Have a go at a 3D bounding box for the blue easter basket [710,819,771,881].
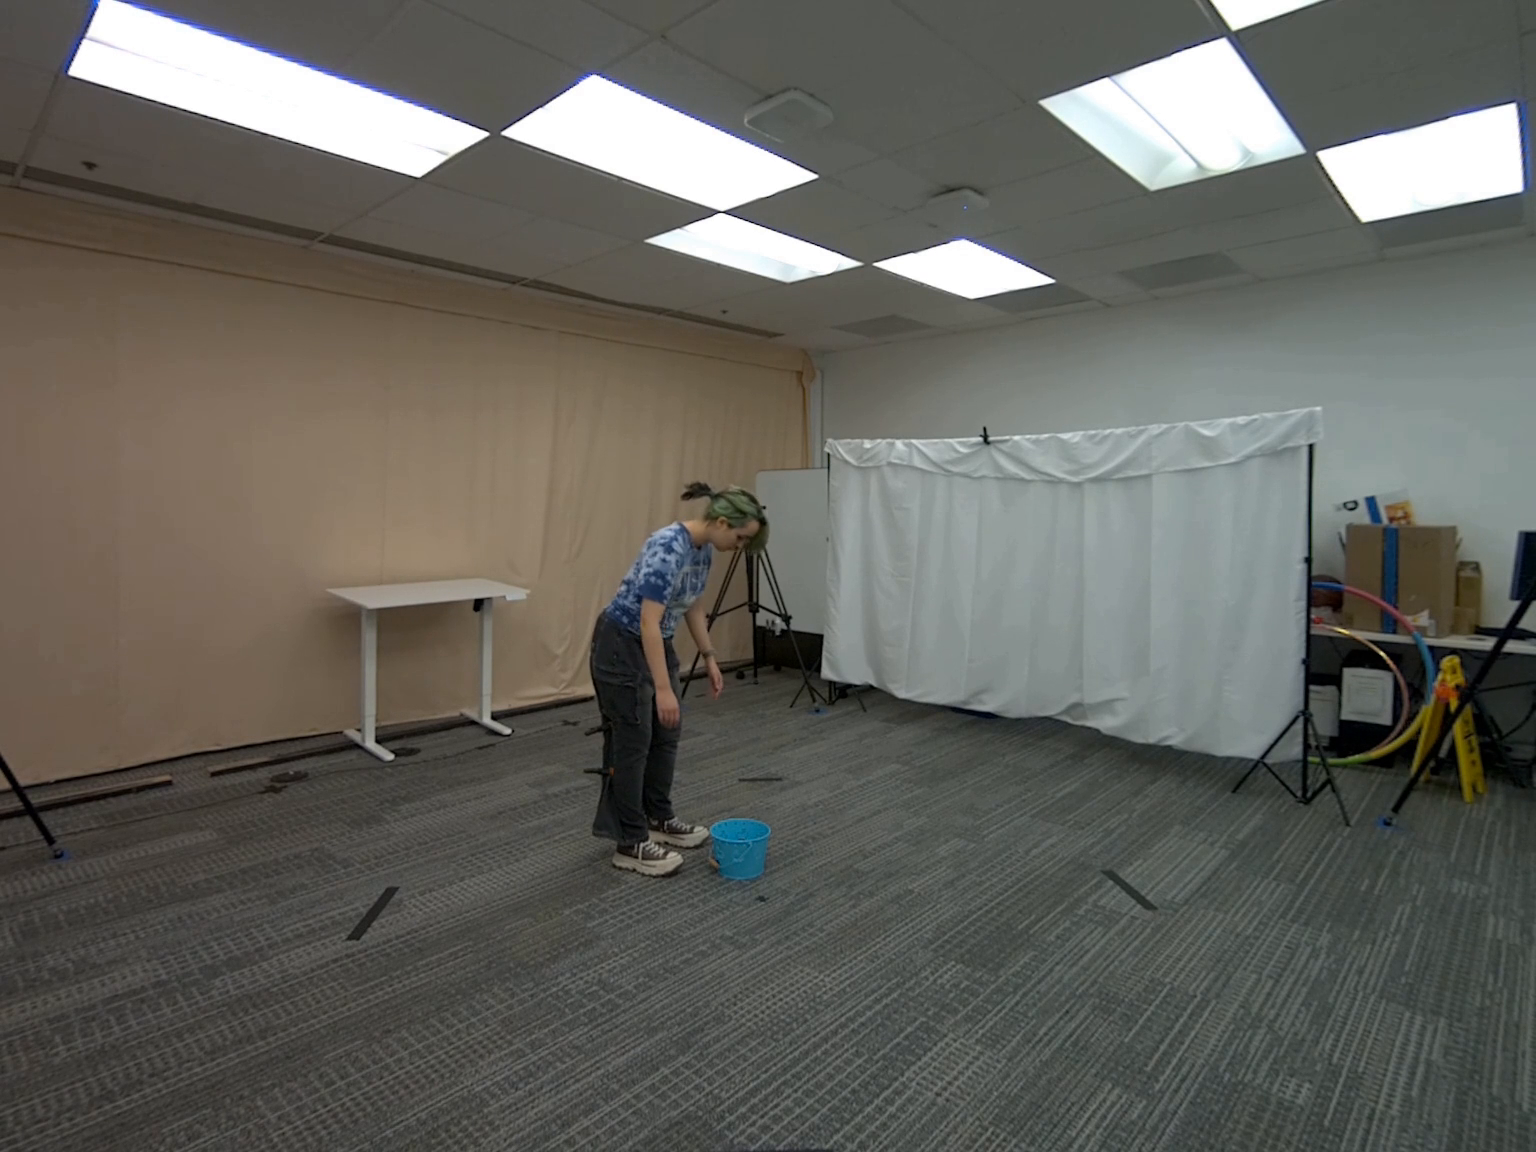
[{"bbox_3d":[-0.106,1.042,3.230,0.243,0.155,0.244,0,4,-2],"label":"blue easter basket"}]
